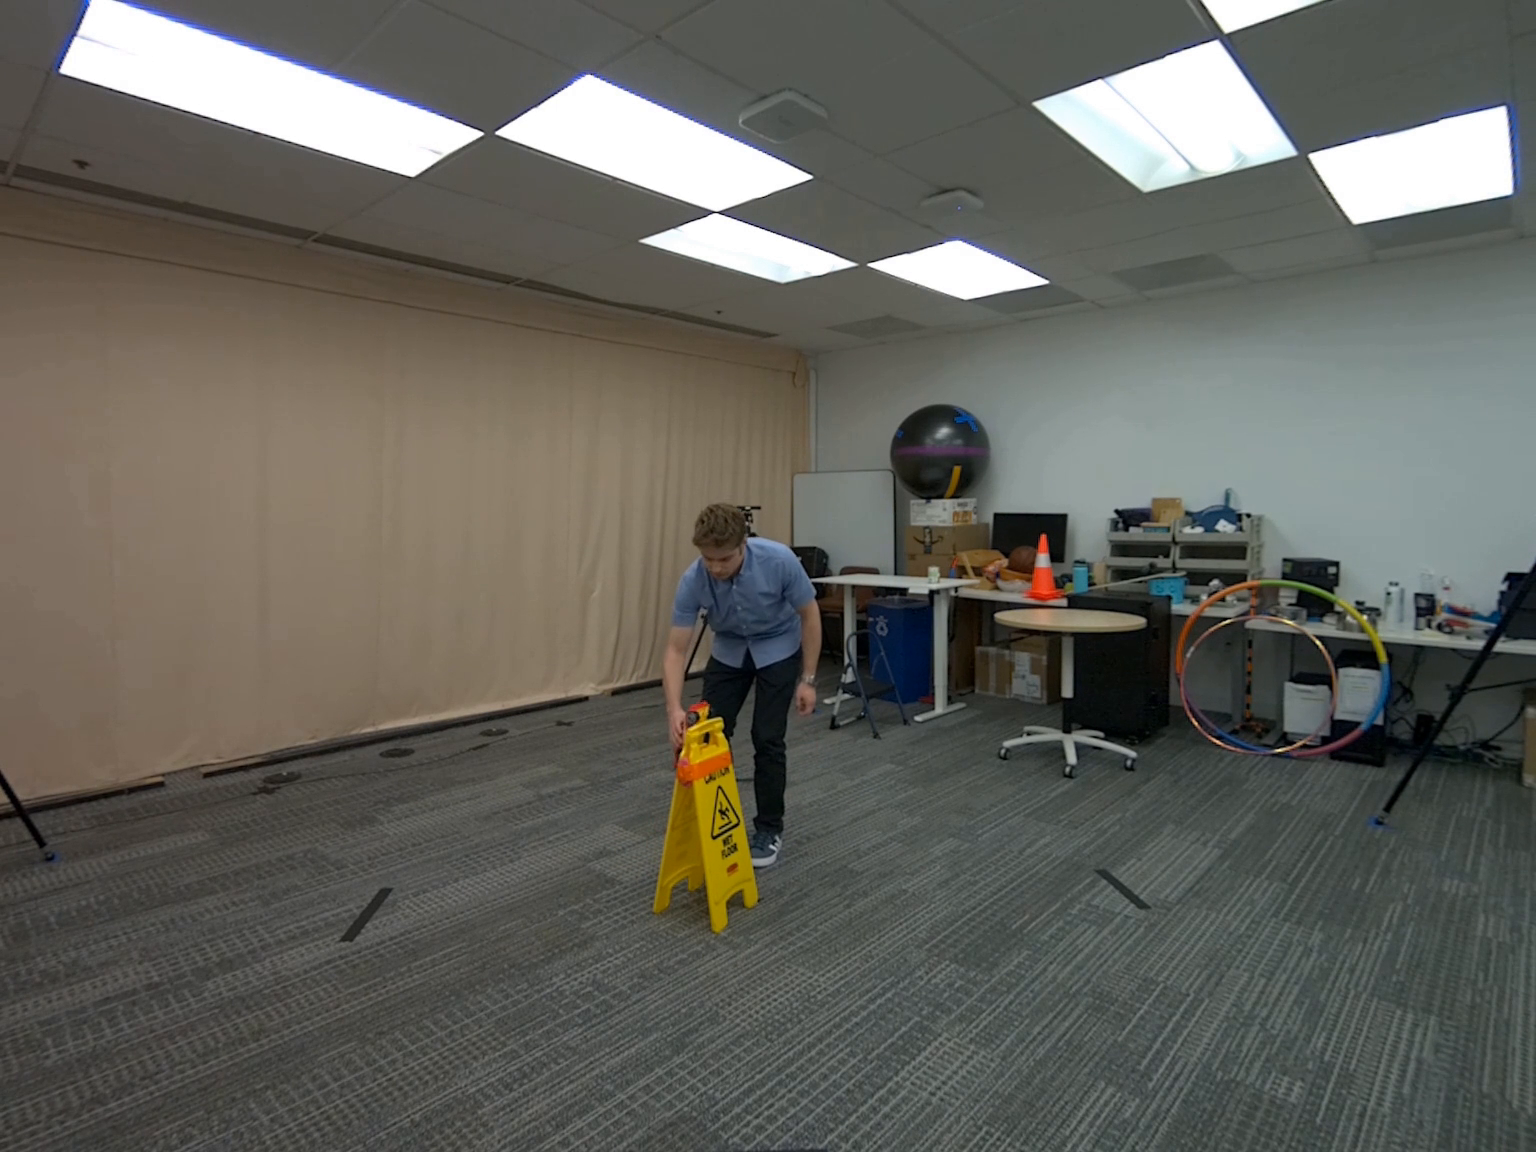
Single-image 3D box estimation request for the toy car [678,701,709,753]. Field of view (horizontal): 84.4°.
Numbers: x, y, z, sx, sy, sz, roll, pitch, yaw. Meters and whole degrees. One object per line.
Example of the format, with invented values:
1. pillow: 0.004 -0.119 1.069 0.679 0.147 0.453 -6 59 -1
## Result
1. toy car: -0.255 0.568 2.951 0.085 0.254 0.127 35 24 23
